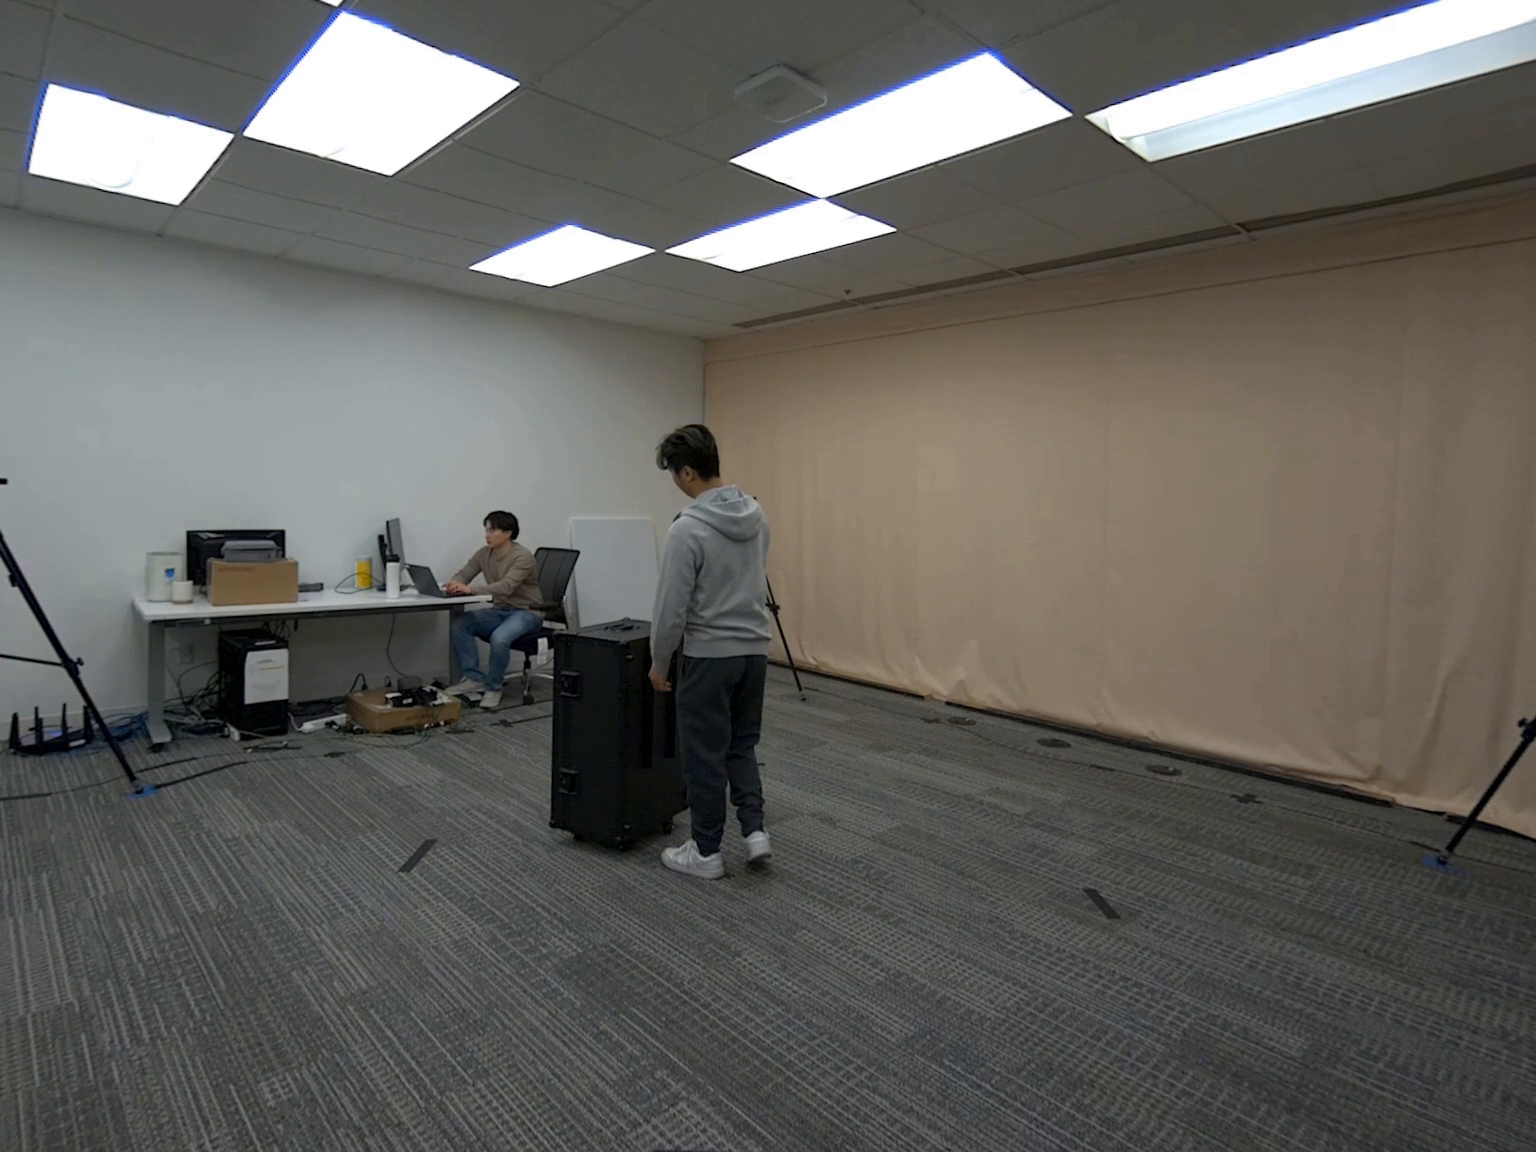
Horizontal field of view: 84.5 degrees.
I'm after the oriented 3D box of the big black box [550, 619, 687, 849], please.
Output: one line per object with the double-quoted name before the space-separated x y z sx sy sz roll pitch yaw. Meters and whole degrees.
"big black box" -0.589 0.641 3.459 0.405 0.859 0.511 5 5 28
